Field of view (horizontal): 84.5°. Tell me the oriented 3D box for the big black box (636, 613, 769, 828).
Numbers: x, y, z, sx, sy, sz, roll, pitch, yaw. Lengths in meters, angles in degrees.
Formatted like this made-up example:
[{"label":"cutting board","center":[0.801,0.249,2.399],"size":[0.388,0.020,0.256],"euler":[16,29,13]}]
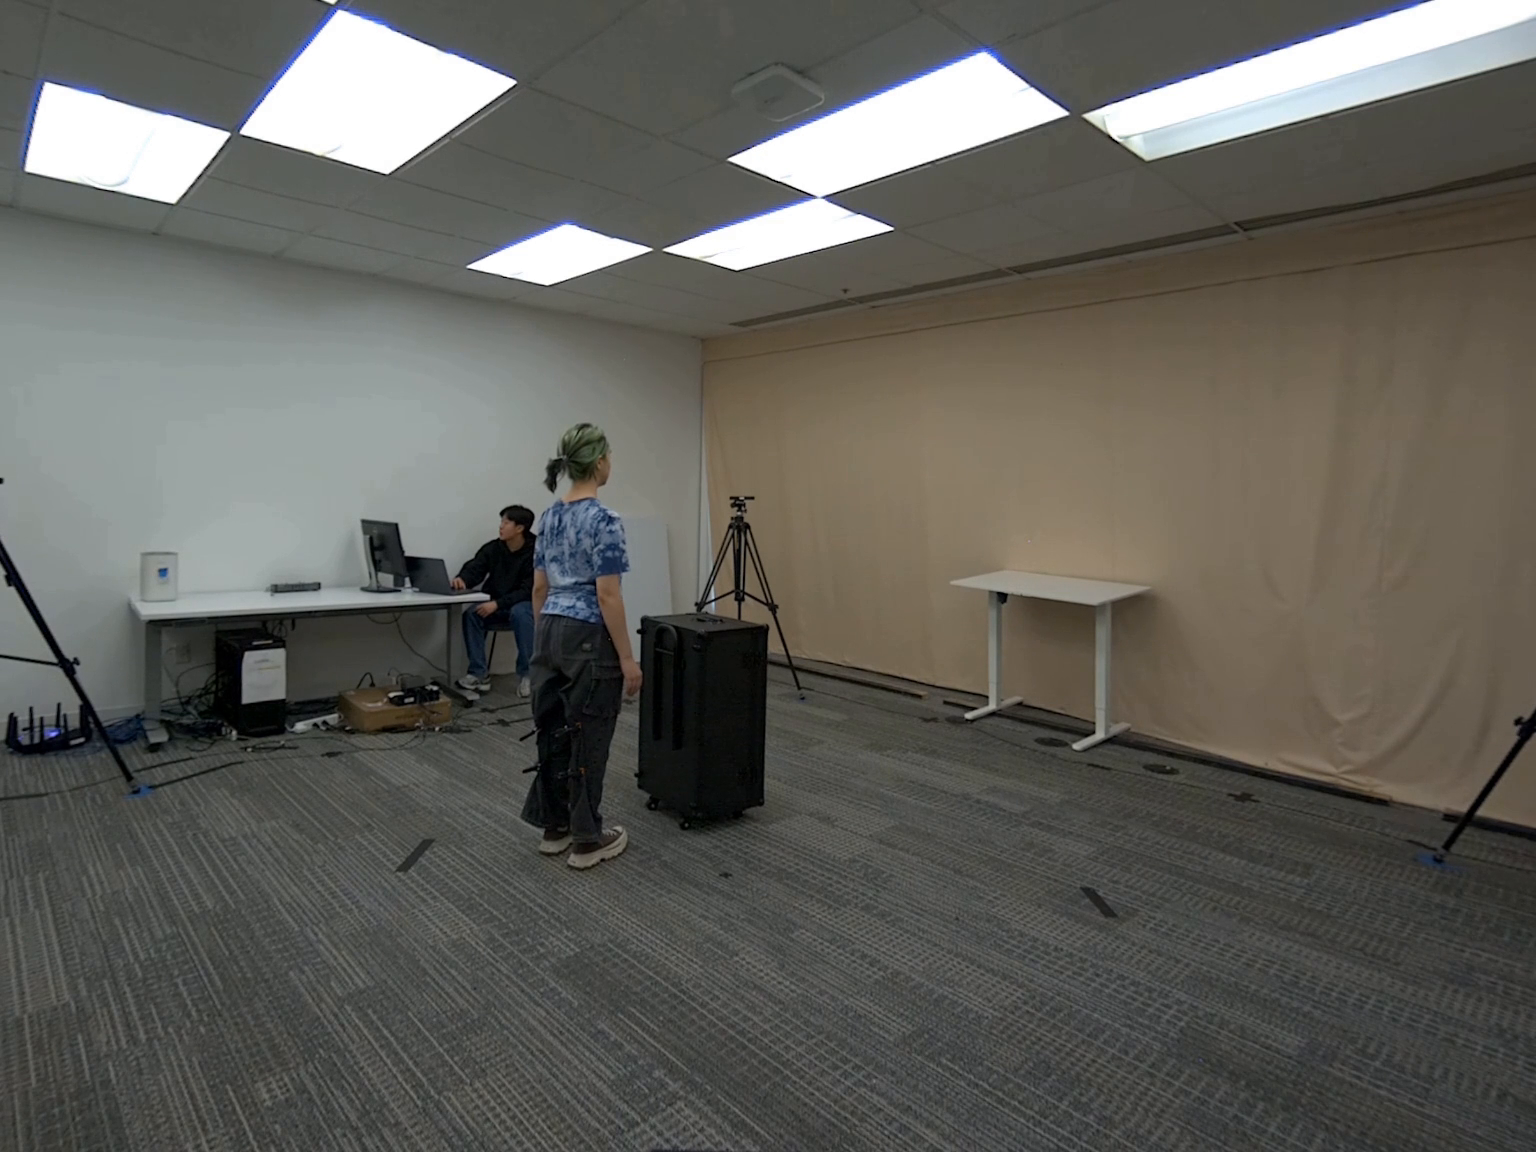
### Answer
[{"label":"big black box","center":[-0.309,0.621,3.699],"size":[0.387,0.859,0.534],"euler":[-1,4,-38]}]
